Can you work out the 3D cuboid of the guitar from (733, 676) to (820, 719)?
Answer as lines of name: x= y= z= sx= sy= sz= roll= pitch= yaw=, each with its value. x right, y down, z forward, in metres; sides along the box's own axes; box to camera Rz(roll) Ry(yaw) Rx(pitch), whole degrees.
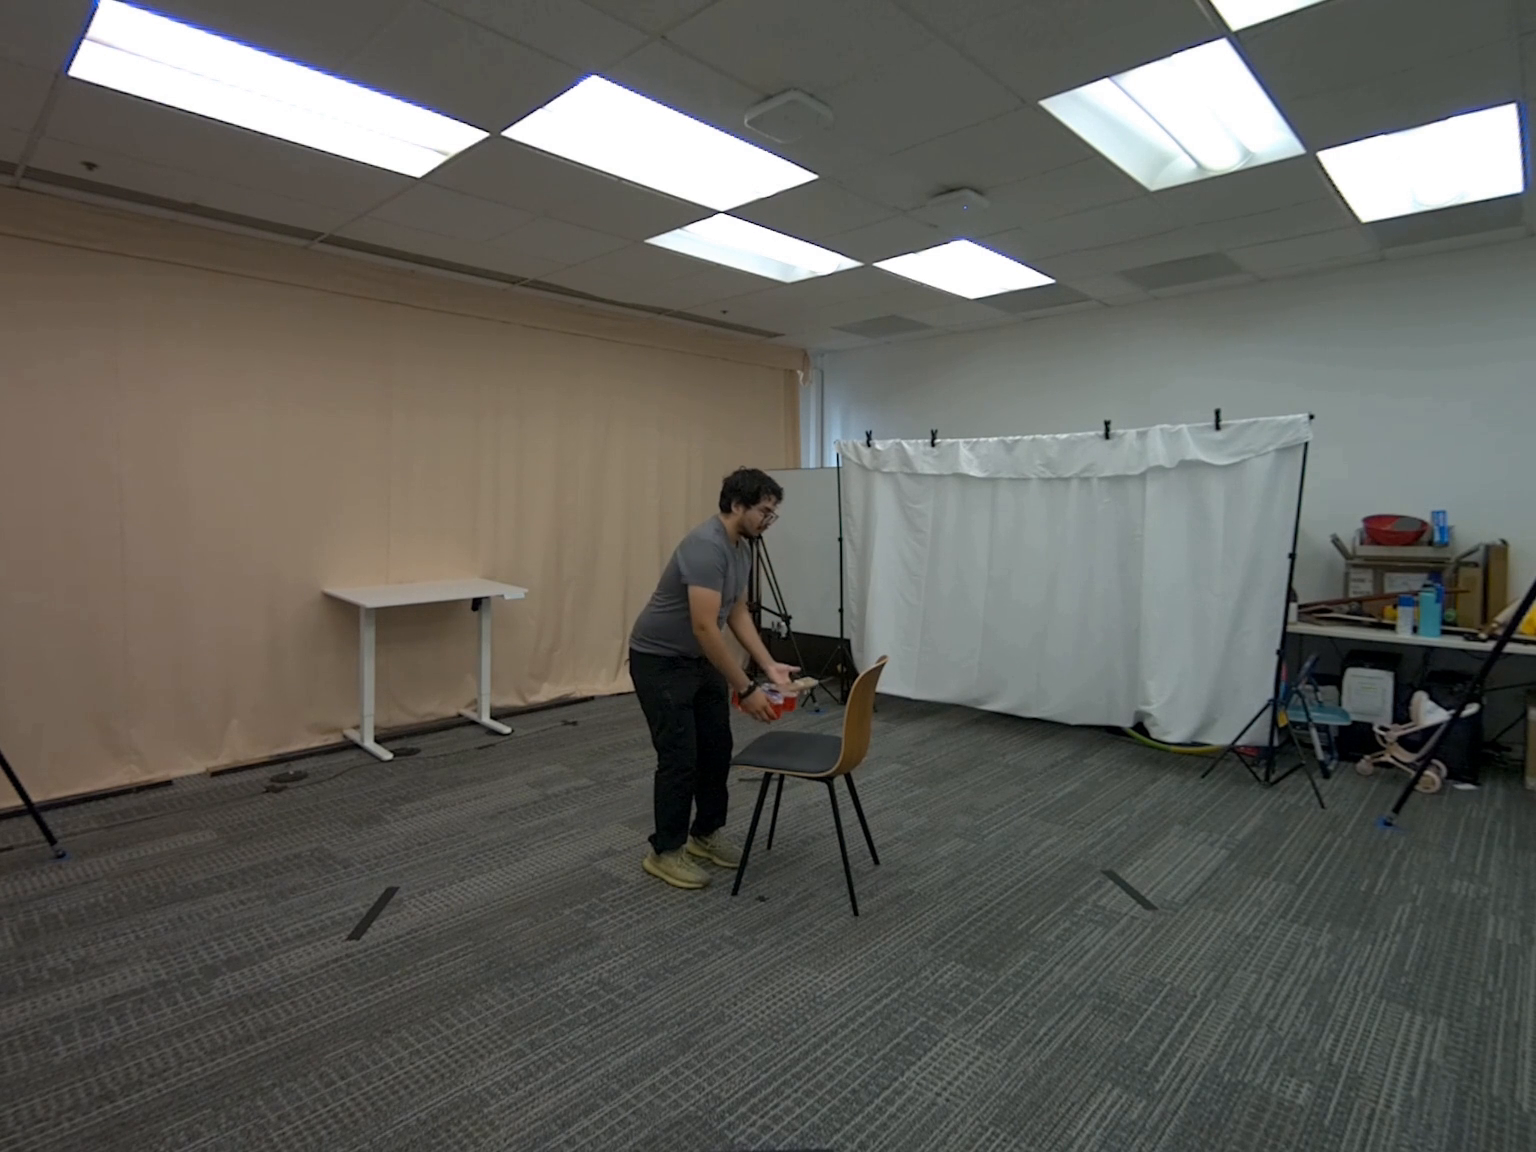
guitar: x=0.085 y=0.458 z=3.172 sx=0.200 sy=0.070 sz=0.481 roll=19 pitch=12 yaw=42
